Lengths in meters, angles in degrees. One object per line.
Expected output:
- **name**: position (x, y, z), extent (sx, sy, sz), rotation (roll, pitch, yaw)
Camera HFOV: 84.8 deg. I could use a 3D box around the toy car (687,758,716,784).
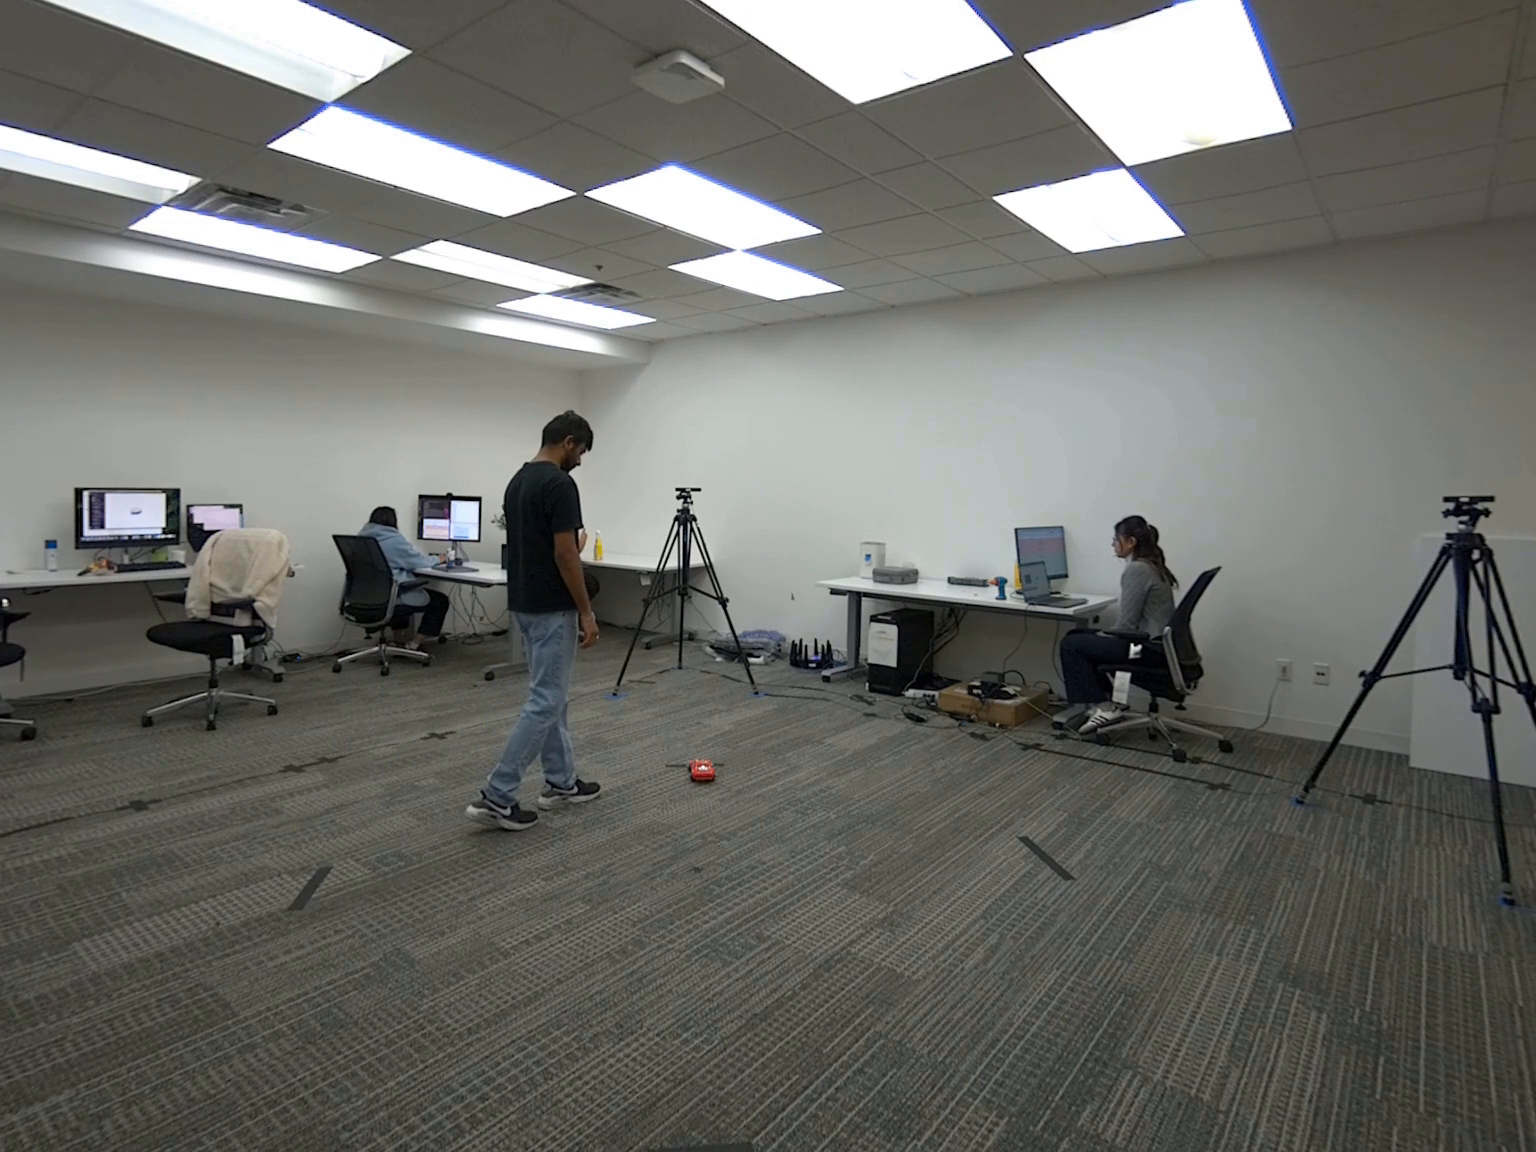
- **toy car**: position (-0.333, 0.942, 4.123), extent (0.129, 0.084, 0.254), rotation (1, -5, -7)
